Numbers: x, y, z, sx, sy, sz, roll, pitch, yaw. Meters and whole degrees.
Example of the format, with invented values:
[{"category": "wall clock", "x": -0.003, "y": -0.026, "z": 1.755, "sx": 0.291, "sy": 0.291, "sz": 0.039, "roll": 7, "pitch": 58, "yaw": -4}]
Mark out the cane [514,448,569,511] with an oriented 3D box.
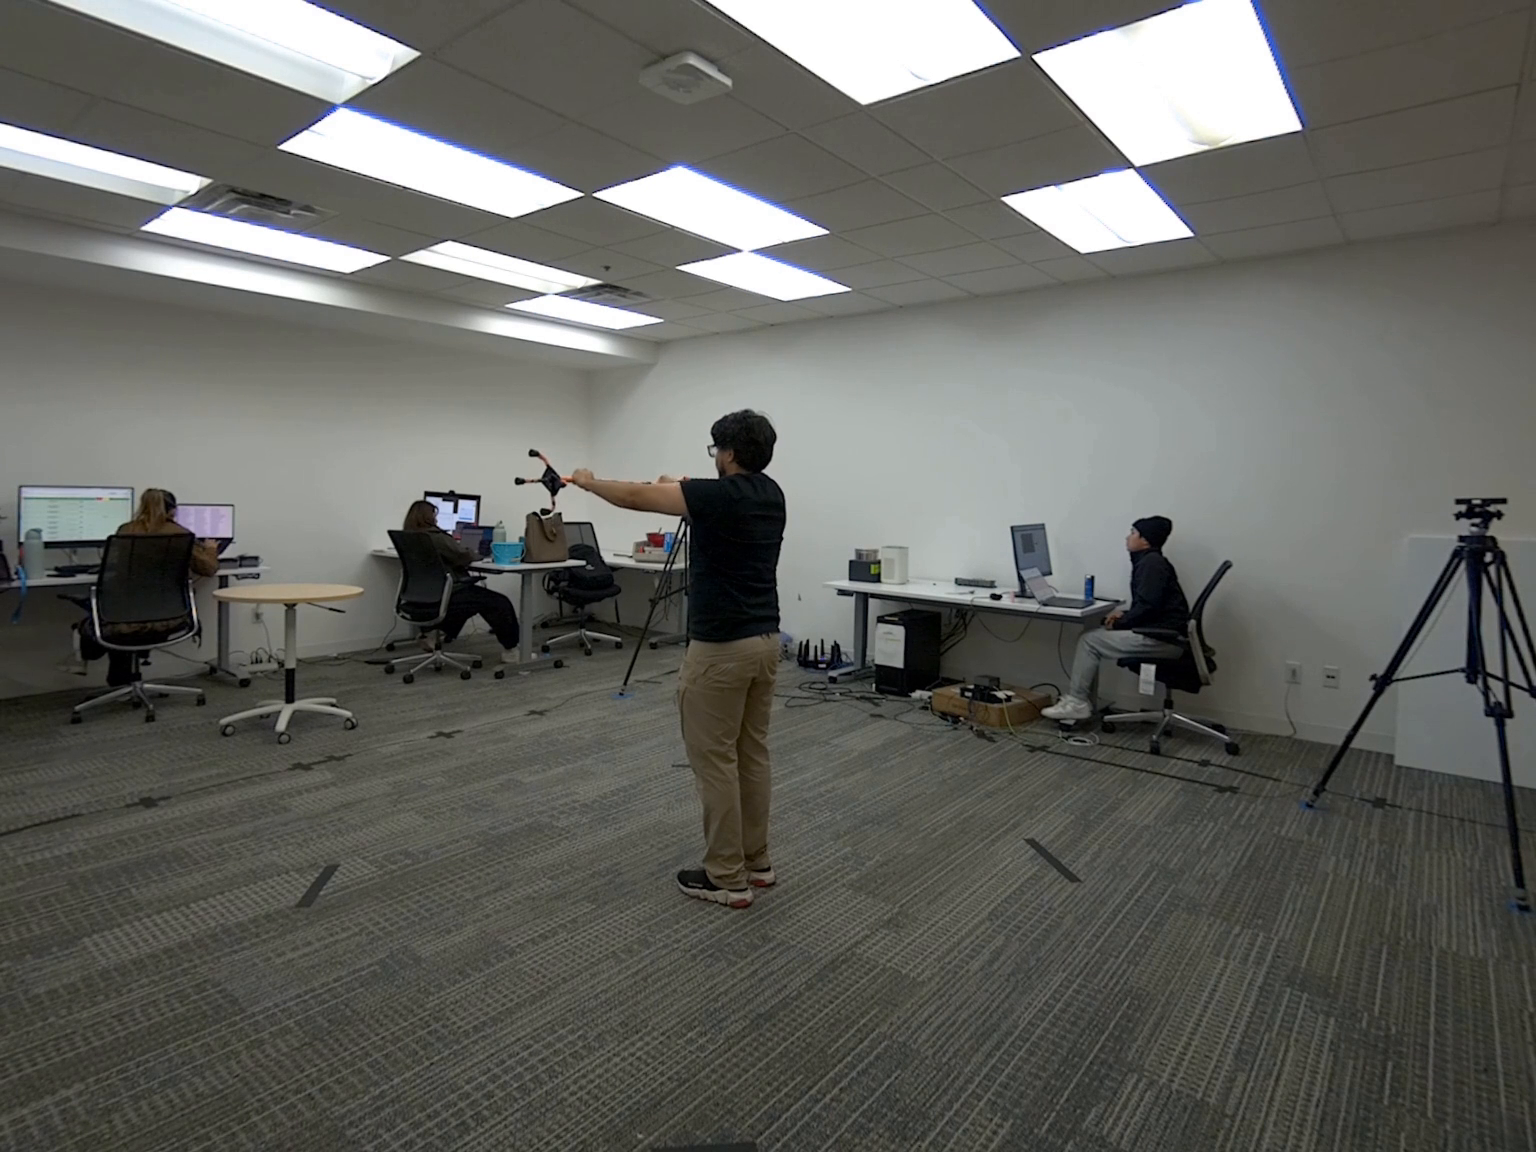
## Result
[{"category": "cane", "x": -0.565, "y": -0.352, "z": 3.331, "sx": 0.213, "sy": 0.151, "sz": 0.882, "roll": 46, "pitch": 27, "yaw": 24}]
